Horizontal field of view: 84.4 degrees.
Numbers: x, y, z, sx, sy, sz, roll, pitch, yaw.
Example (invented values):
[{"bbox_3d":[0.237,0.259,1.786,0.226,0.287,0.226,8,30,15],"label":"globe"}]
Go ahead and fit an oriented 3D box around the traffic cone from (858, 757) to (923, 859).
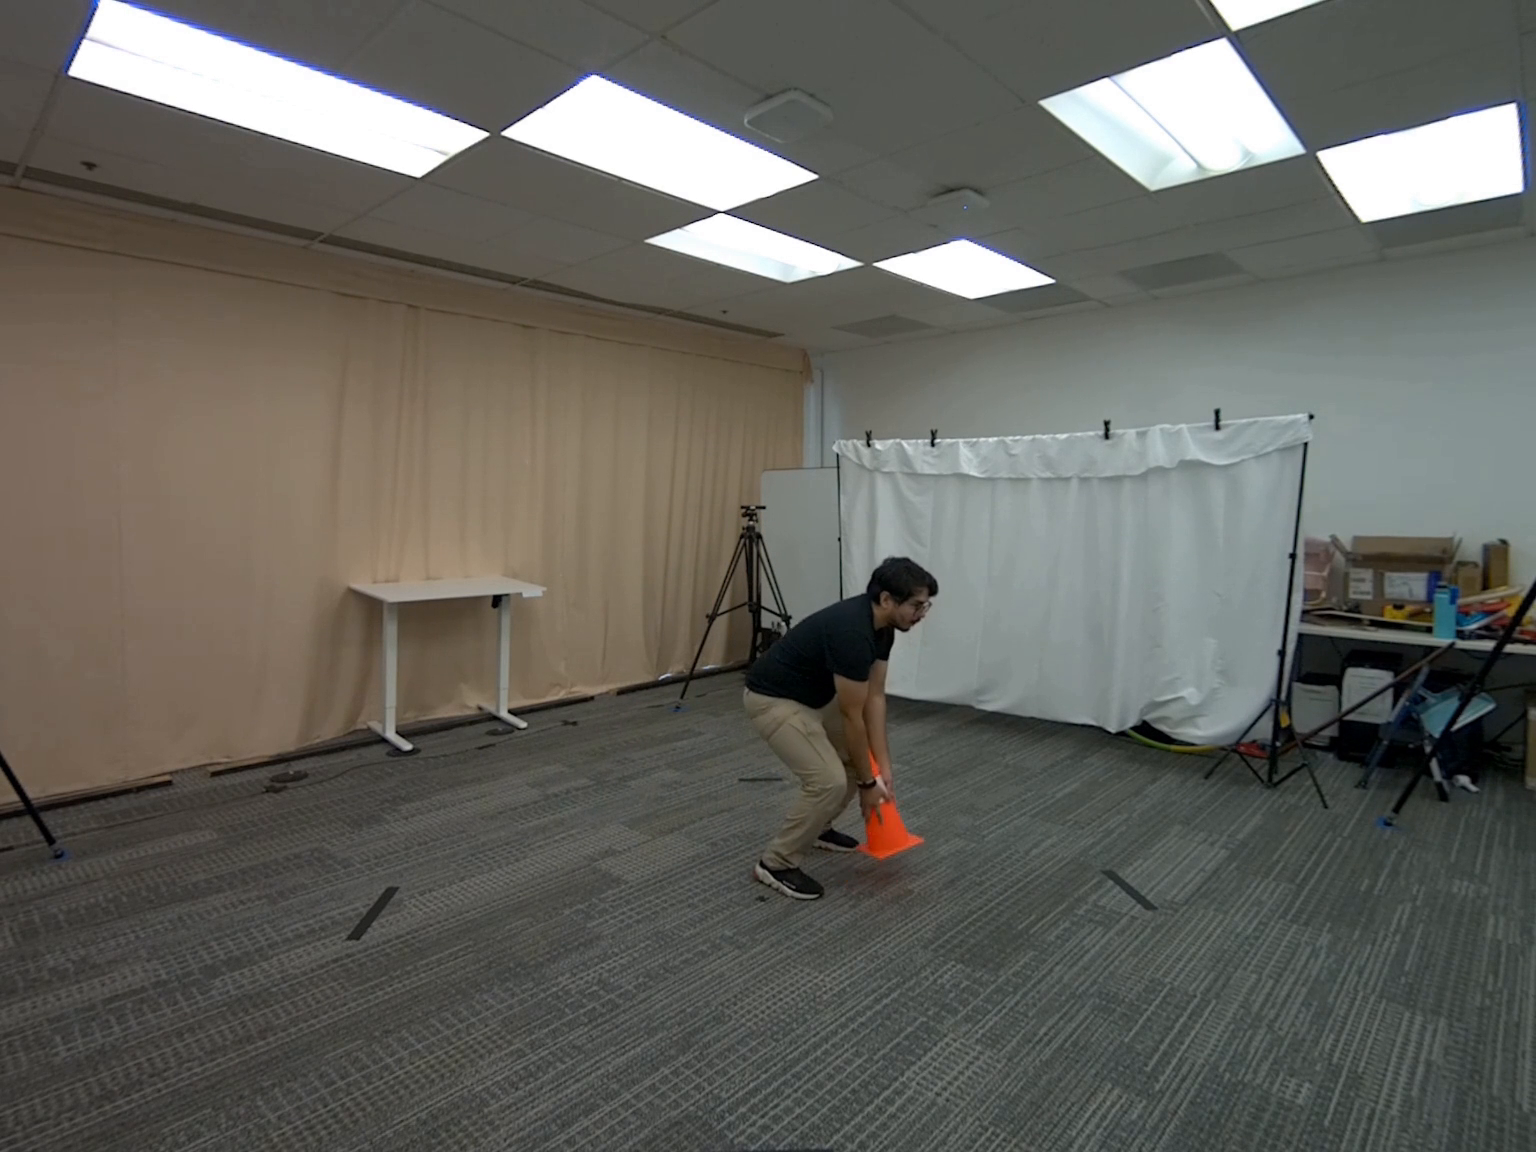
[{"bbox_3d":[0.406,0.809,3.123,0.199,0.385,0.209,-15,-3,-28],"label":"traffic cone"}]
